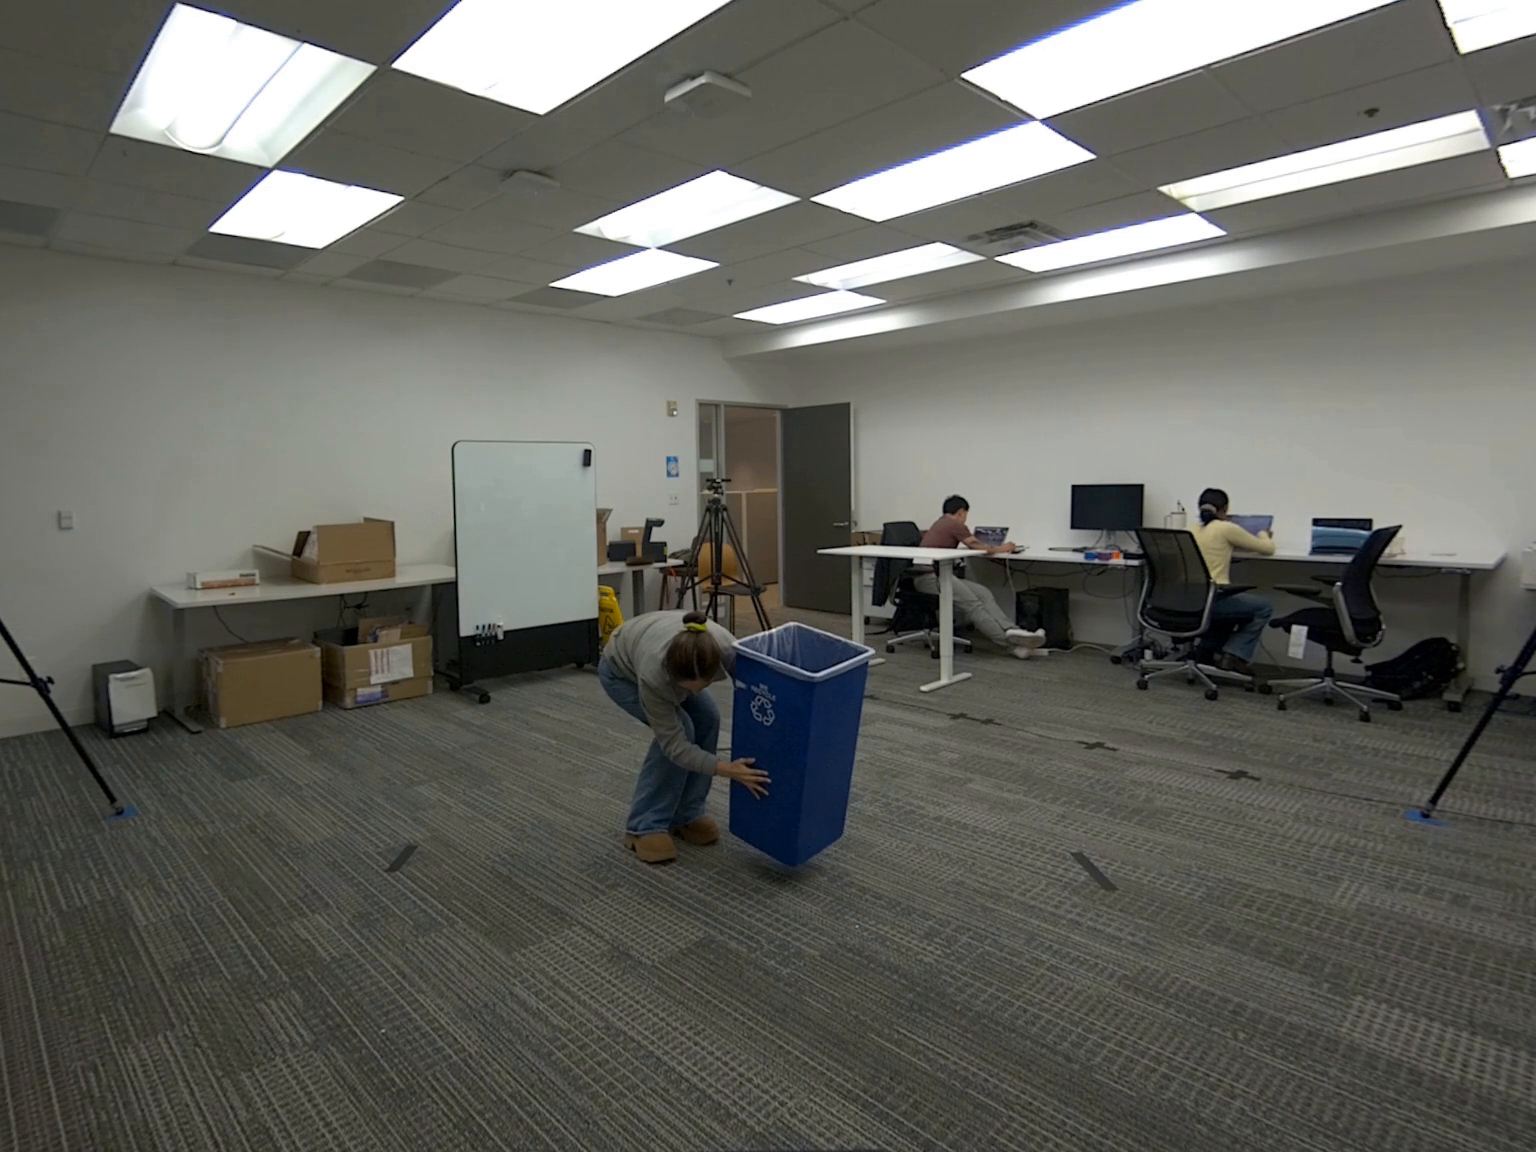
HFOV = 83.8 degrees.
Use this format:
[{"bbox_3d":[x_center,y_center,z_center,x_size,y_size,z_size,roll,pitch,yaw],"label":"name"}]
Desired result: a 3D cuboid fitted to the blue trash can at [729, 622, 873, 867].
[{"bbox_3d":[0.096,0.578,2.977,0.387,0.705,0.369,16,18,38],"label":"blue trash can"}]
